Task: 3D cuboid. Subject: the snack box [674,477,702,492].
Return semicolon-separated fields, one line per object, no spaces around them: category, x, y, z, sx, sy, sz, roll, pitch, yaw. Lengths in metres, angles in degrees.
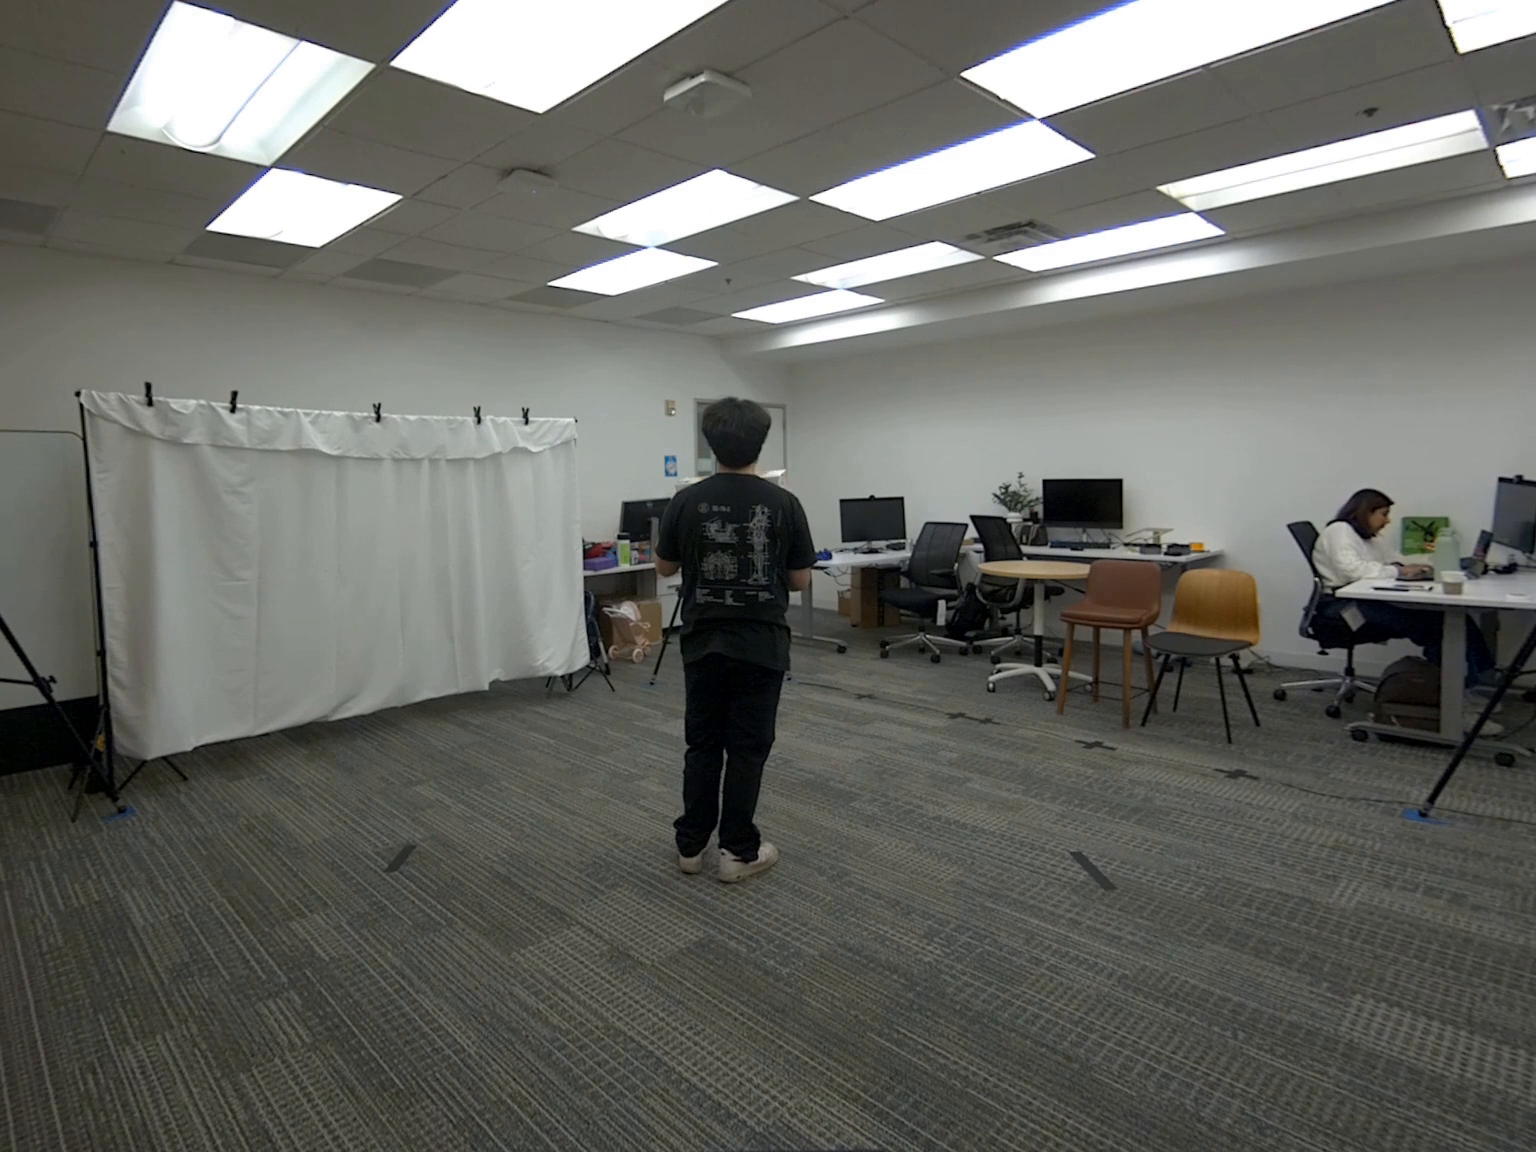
snack box;-0.140;-0.216;3.346;0.410;0.337;0.205;-3;10;13
